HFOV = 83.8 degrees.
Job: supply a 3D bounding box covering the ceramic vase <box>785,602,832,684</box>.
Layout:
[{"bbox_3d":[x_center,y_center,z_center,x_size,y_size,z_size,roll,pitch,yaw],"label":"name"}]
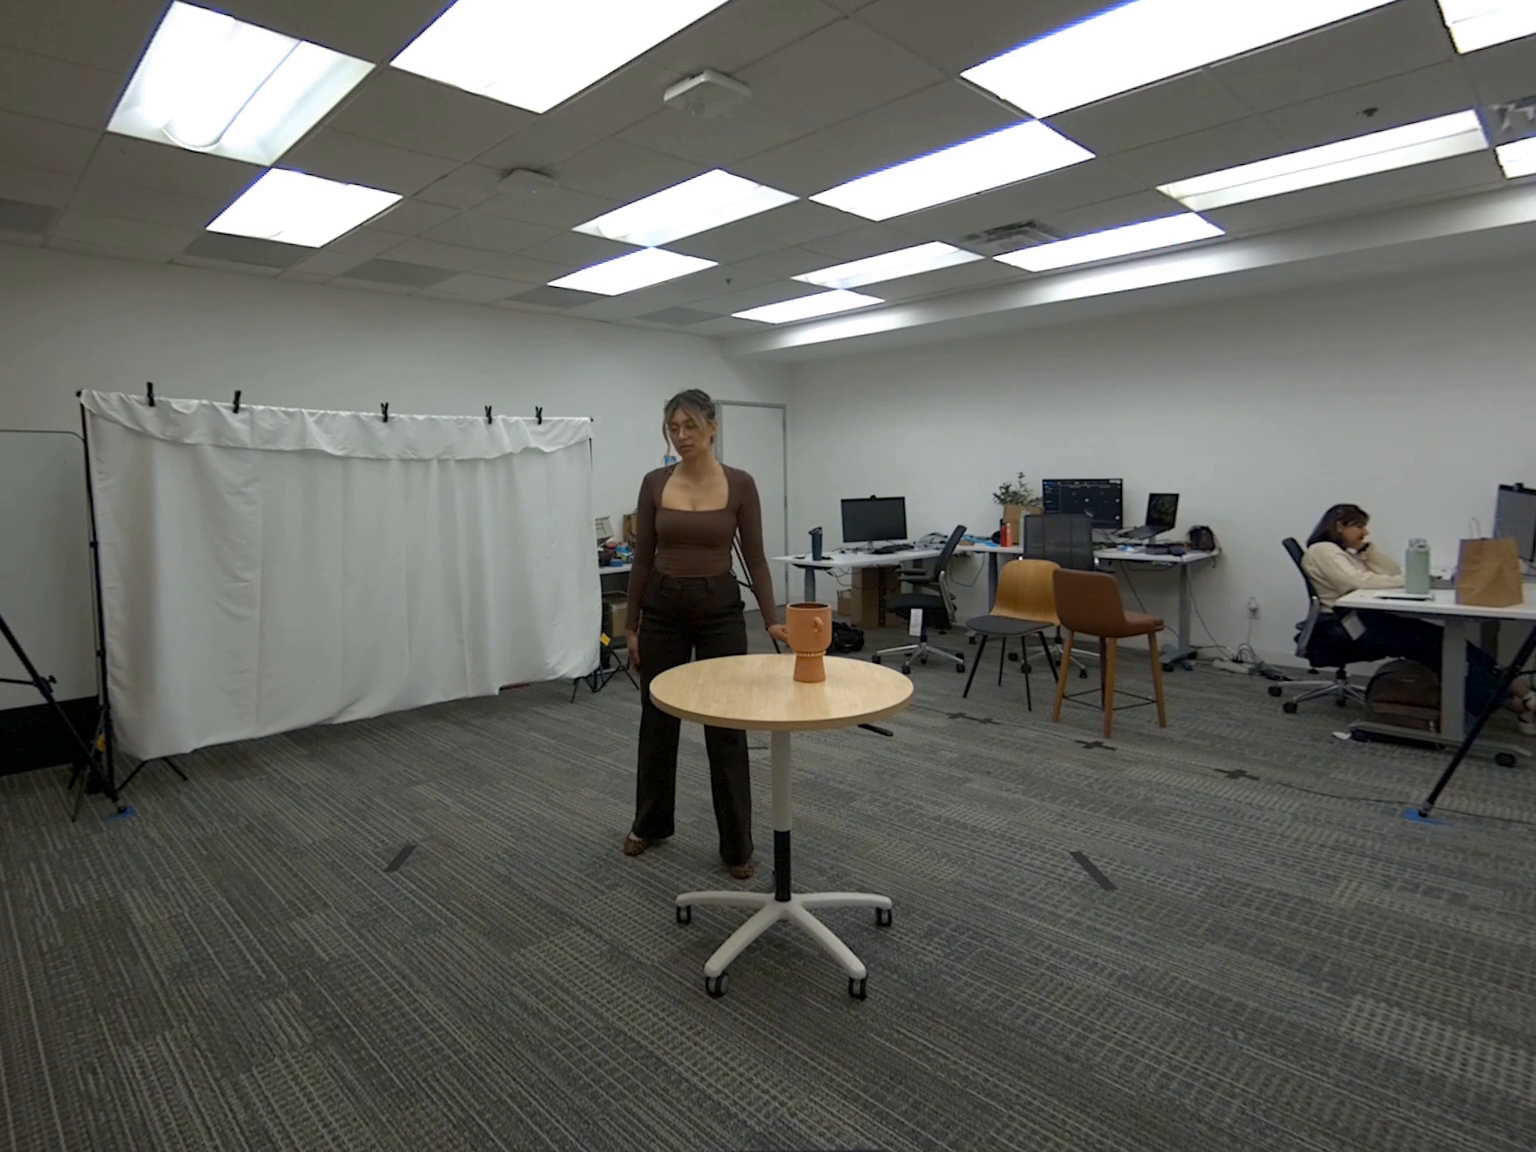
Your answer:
[{"bbox_3d":[0.129,0.199,2.532,0.137,0.219,0.156,1,6,22],"label":"ceramic vase"}]
